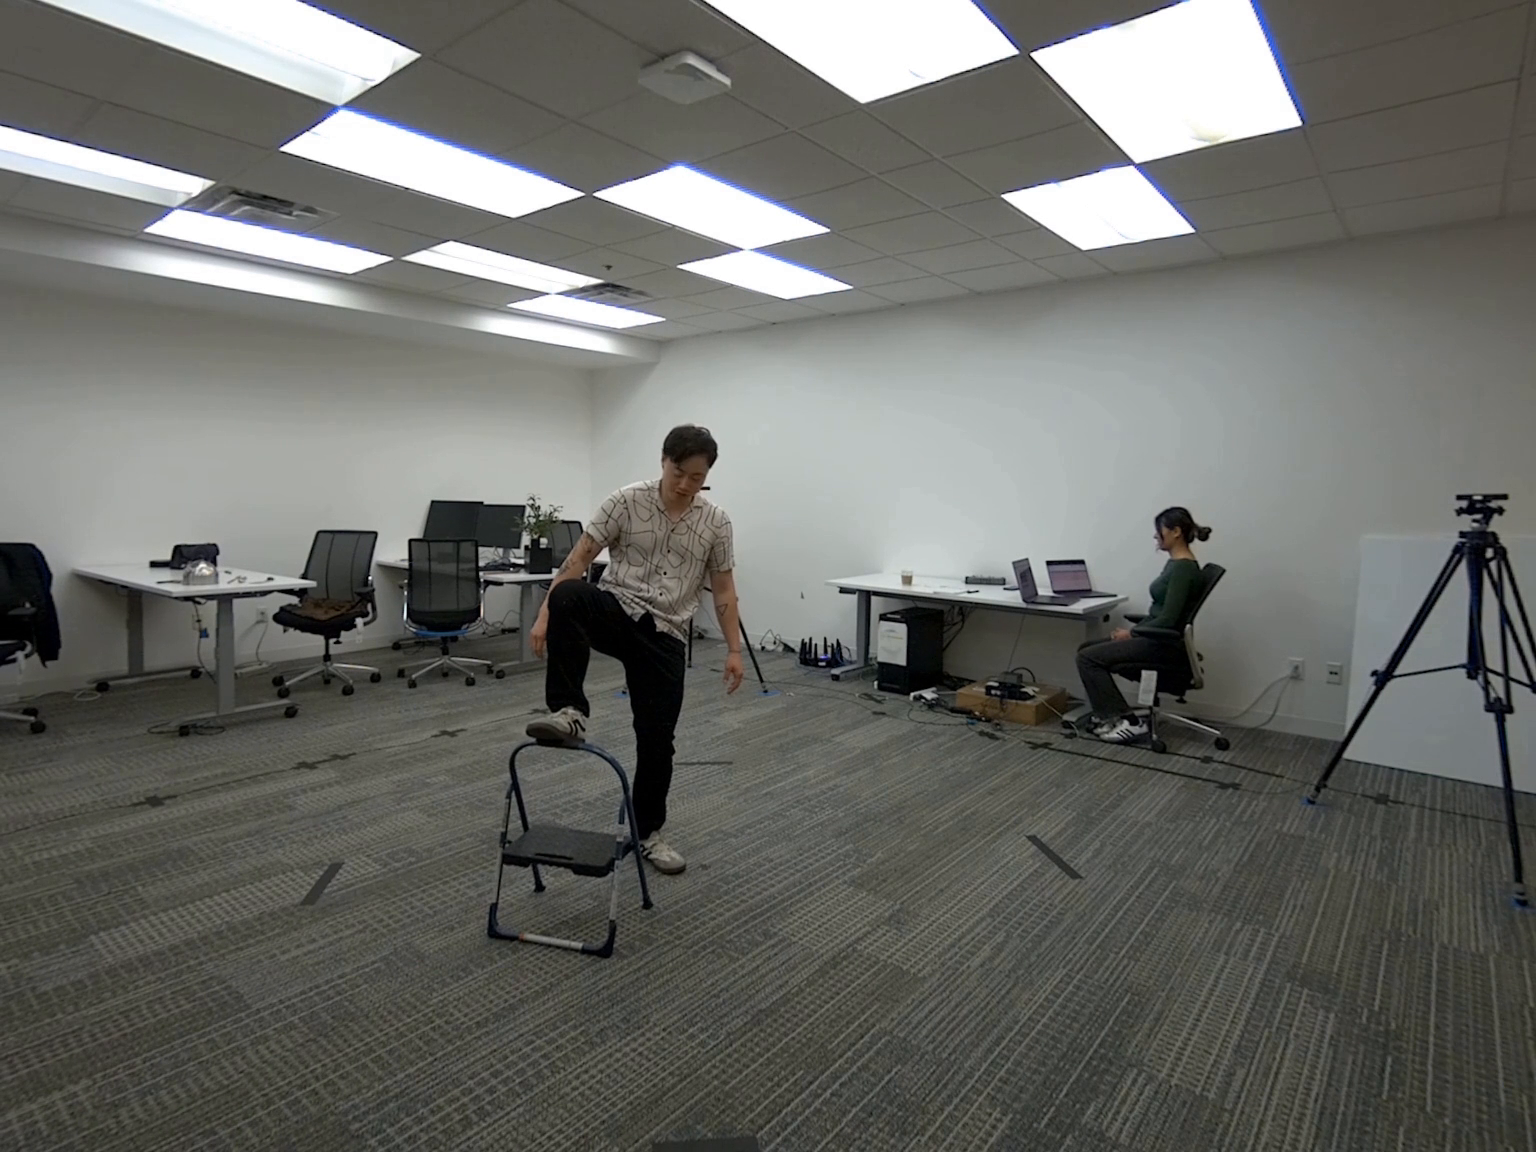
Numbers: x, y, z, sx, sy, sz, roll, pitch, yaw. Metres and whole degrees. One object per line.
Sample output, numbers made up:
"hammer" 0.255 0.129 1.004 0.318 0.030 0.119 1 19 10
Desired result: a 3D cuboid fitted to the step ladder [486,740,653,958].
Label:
"step ladder" -0.638 0.796 2.695 0.438 0.604 0.345 1 4 14
